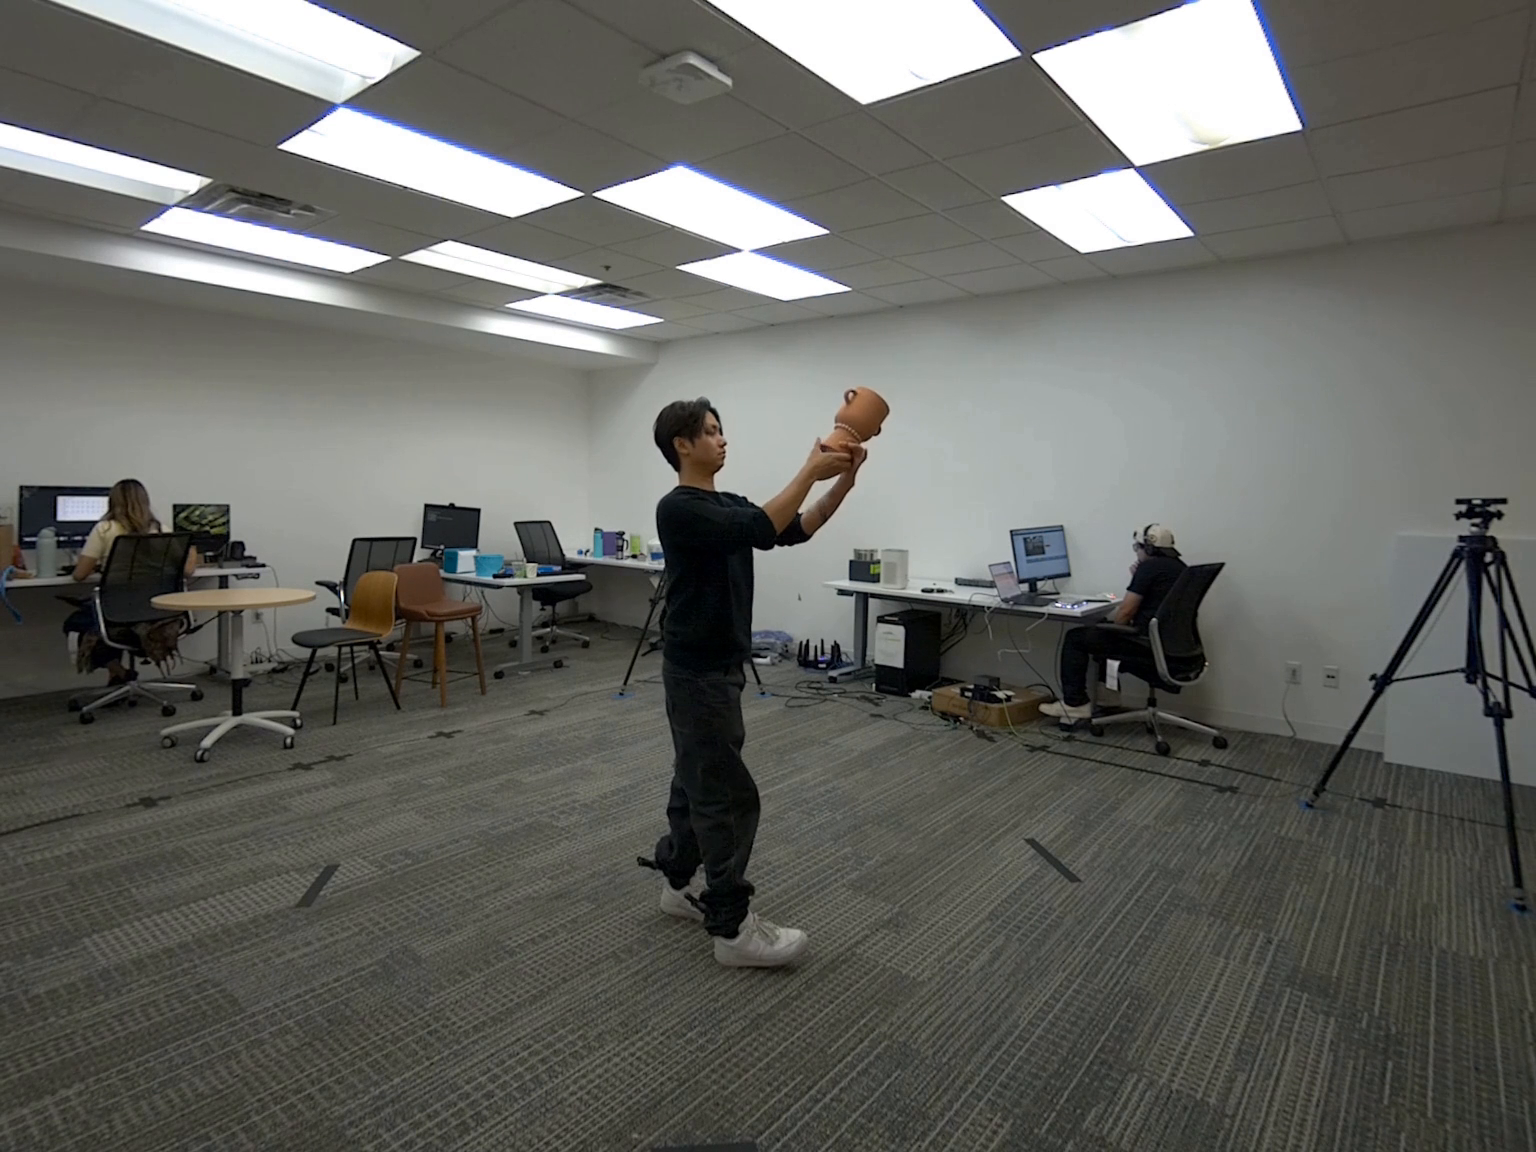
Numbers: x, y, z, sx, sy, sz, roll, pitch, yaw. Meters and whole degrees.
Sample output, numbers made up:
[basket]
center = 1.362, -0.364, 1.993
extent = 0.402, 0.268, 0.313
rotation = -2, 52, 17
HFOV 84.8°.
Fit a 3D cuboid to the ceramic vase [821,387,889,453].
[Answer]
[ceramic vase]
center = 0.252, -0.453, 2.608
extent = 0.160, 0.220, 0.134
rotation = 36, -12, 3
